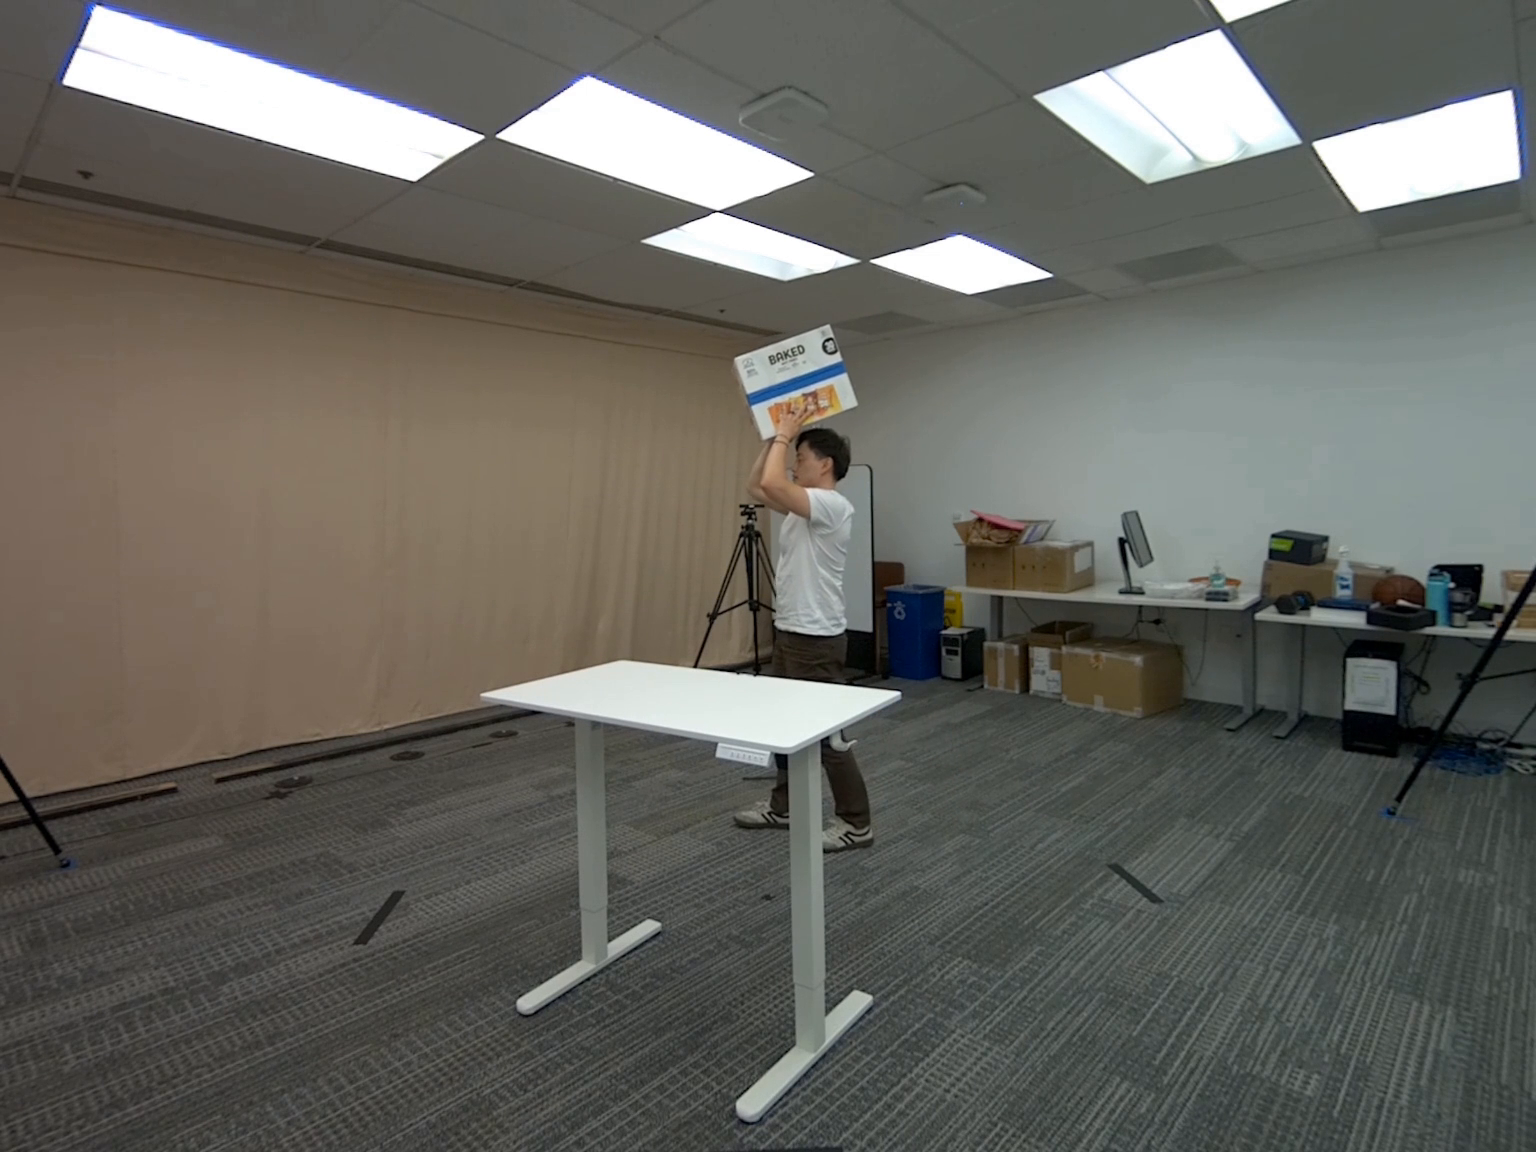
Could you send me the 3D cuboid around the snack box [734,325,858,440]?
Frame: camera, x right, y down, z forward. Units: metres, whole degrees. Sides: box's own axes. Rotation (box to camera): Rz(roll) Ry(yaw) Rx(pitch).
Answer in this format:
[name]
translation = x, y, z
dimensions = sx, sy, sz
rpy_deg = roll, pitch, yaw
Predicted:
[snack box]
translation = 0.105, -0.766, 3.401
dimensions = 0.405, 0.340, 0.206
rpy_deg = -20, 2, -1
